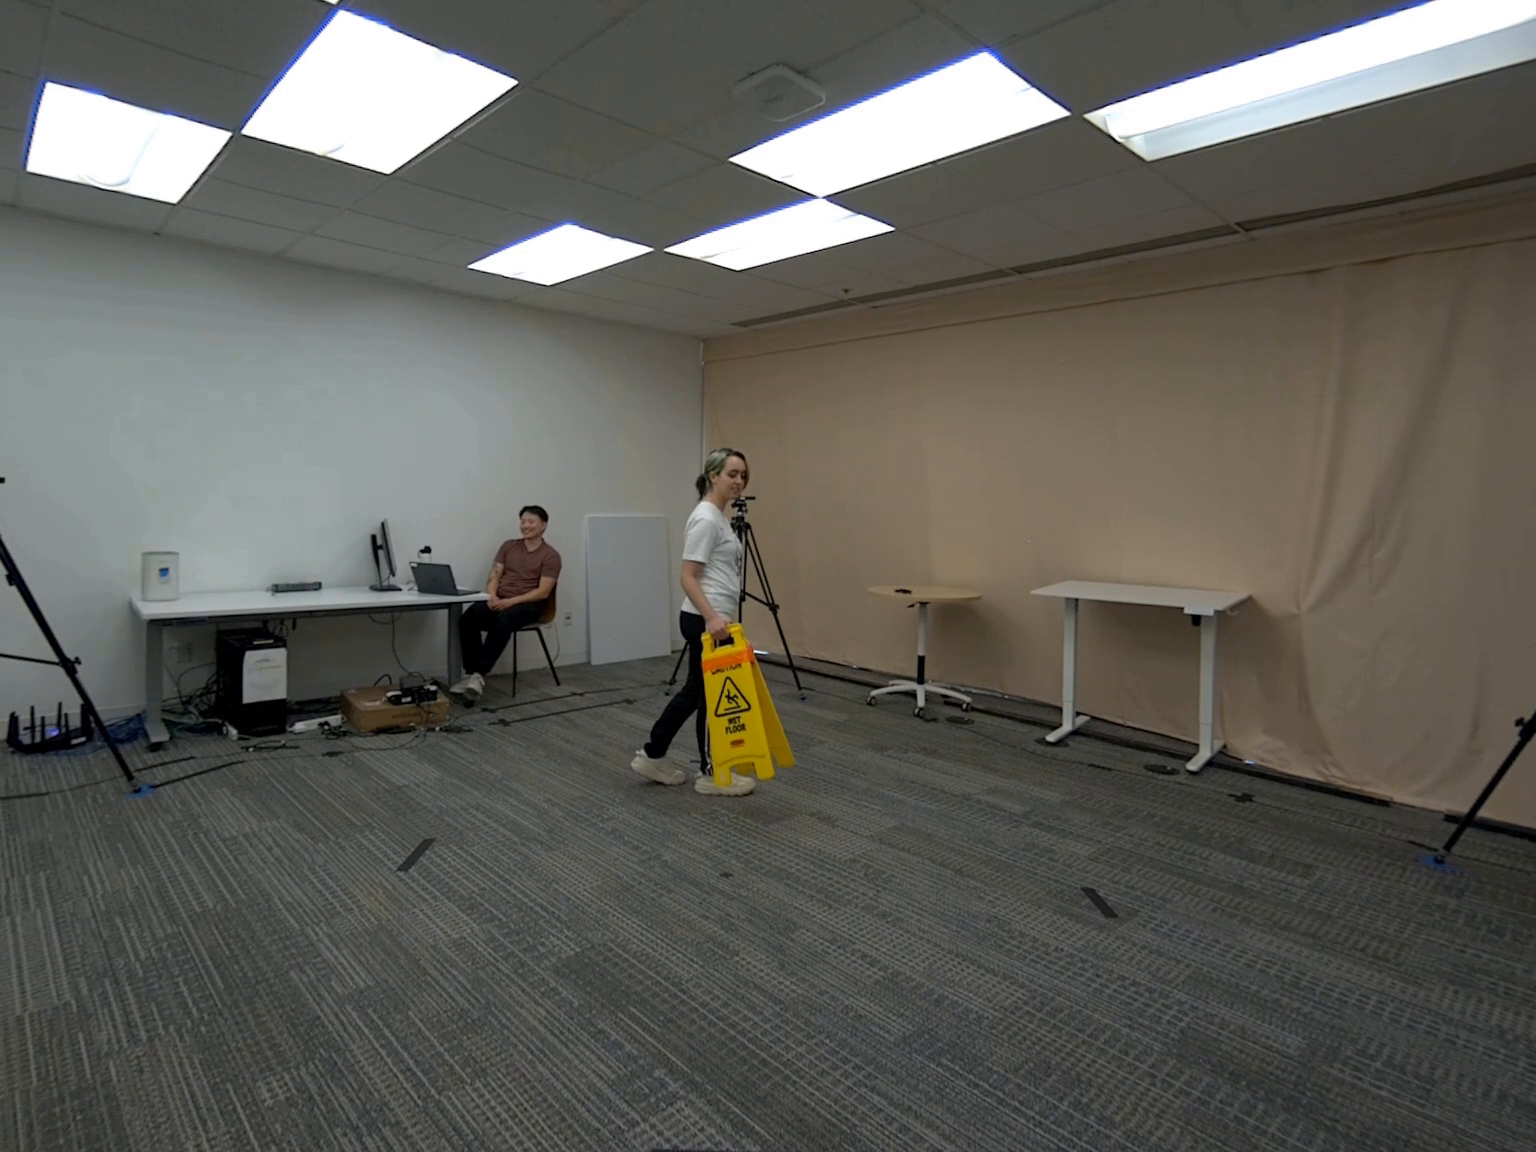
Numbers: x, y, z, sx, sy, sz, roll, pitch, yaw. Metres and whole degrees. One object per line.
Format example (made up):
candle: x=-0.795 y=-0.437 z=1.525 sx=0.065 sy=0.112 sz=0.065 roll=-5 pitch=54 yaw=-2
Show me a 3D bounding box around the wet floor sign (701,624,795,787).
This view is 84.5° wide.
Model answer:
wet floor sign: x=-0.140 y=0.545 z=3.650 sx=0.286 sy=0.651 sz=0.284 roll=-16 pitch=-8 yaw=23
